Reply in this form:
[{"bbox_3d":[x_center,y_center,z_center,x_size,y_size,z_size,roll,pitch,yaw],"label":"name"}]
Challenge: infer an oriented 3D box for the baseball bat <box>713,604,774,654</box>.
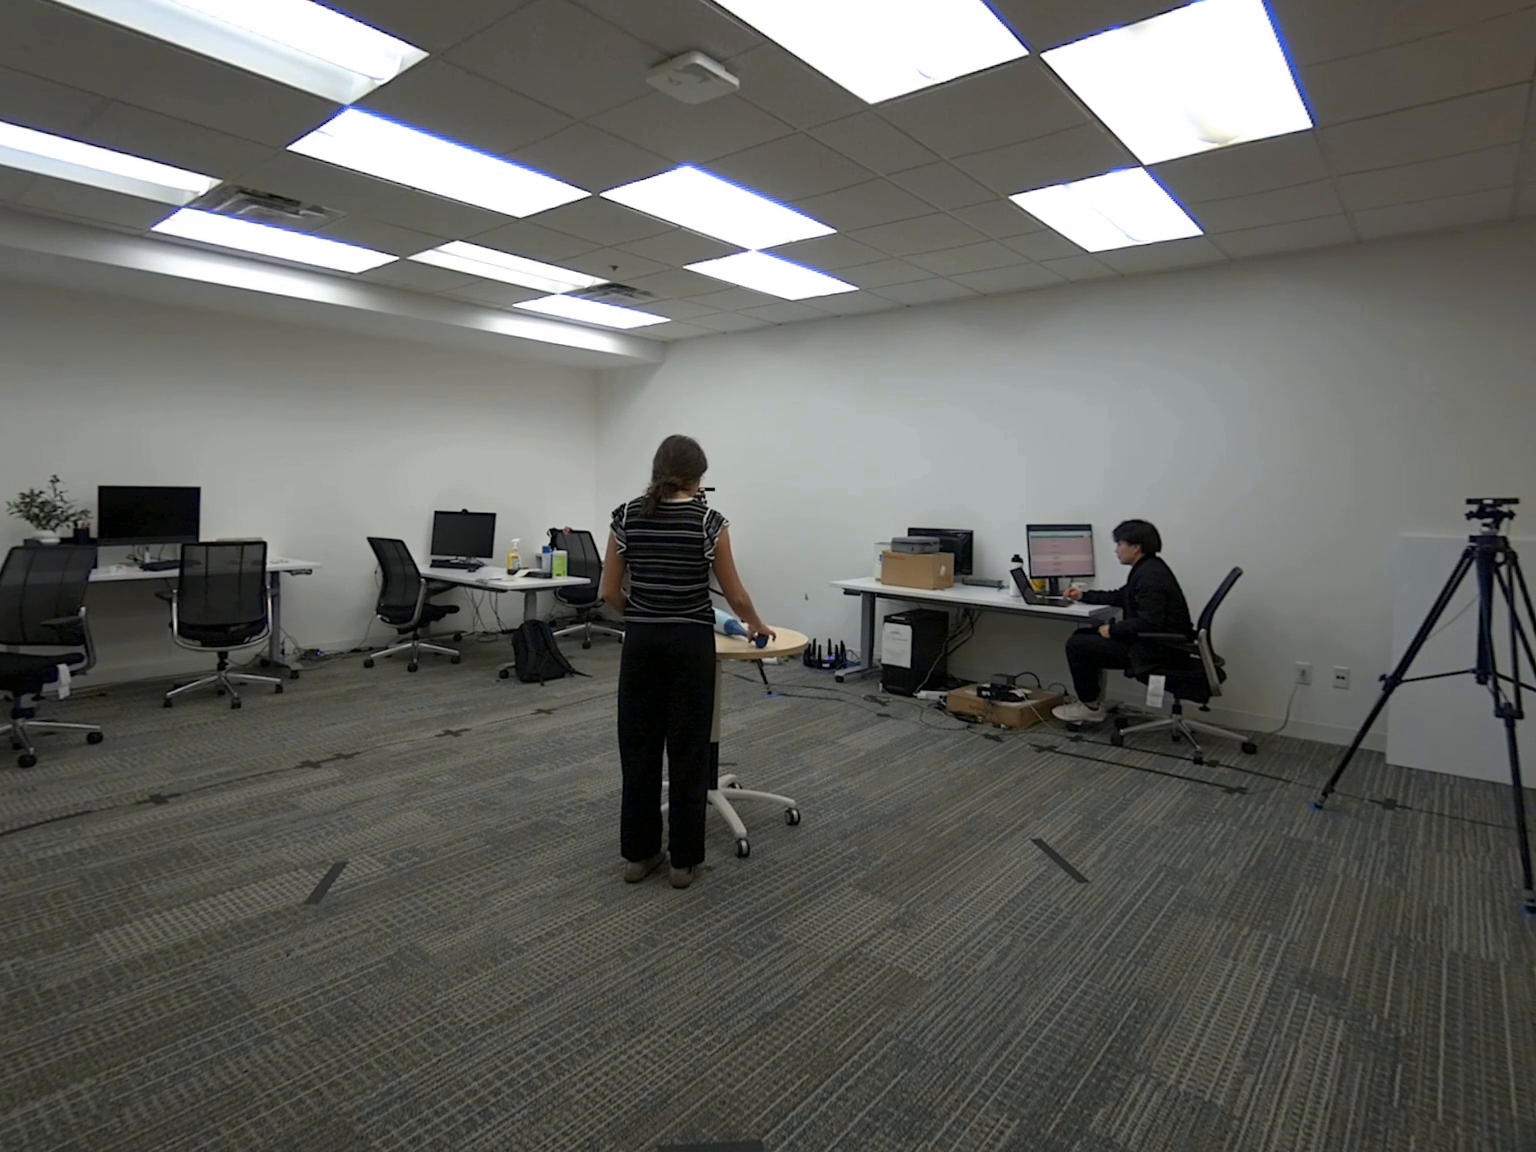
[{"bbox_3d":[-0.150,0.211,3.487,0.087,0.088,0.560,-1,9,-27],"label":"baseball bat"}]
